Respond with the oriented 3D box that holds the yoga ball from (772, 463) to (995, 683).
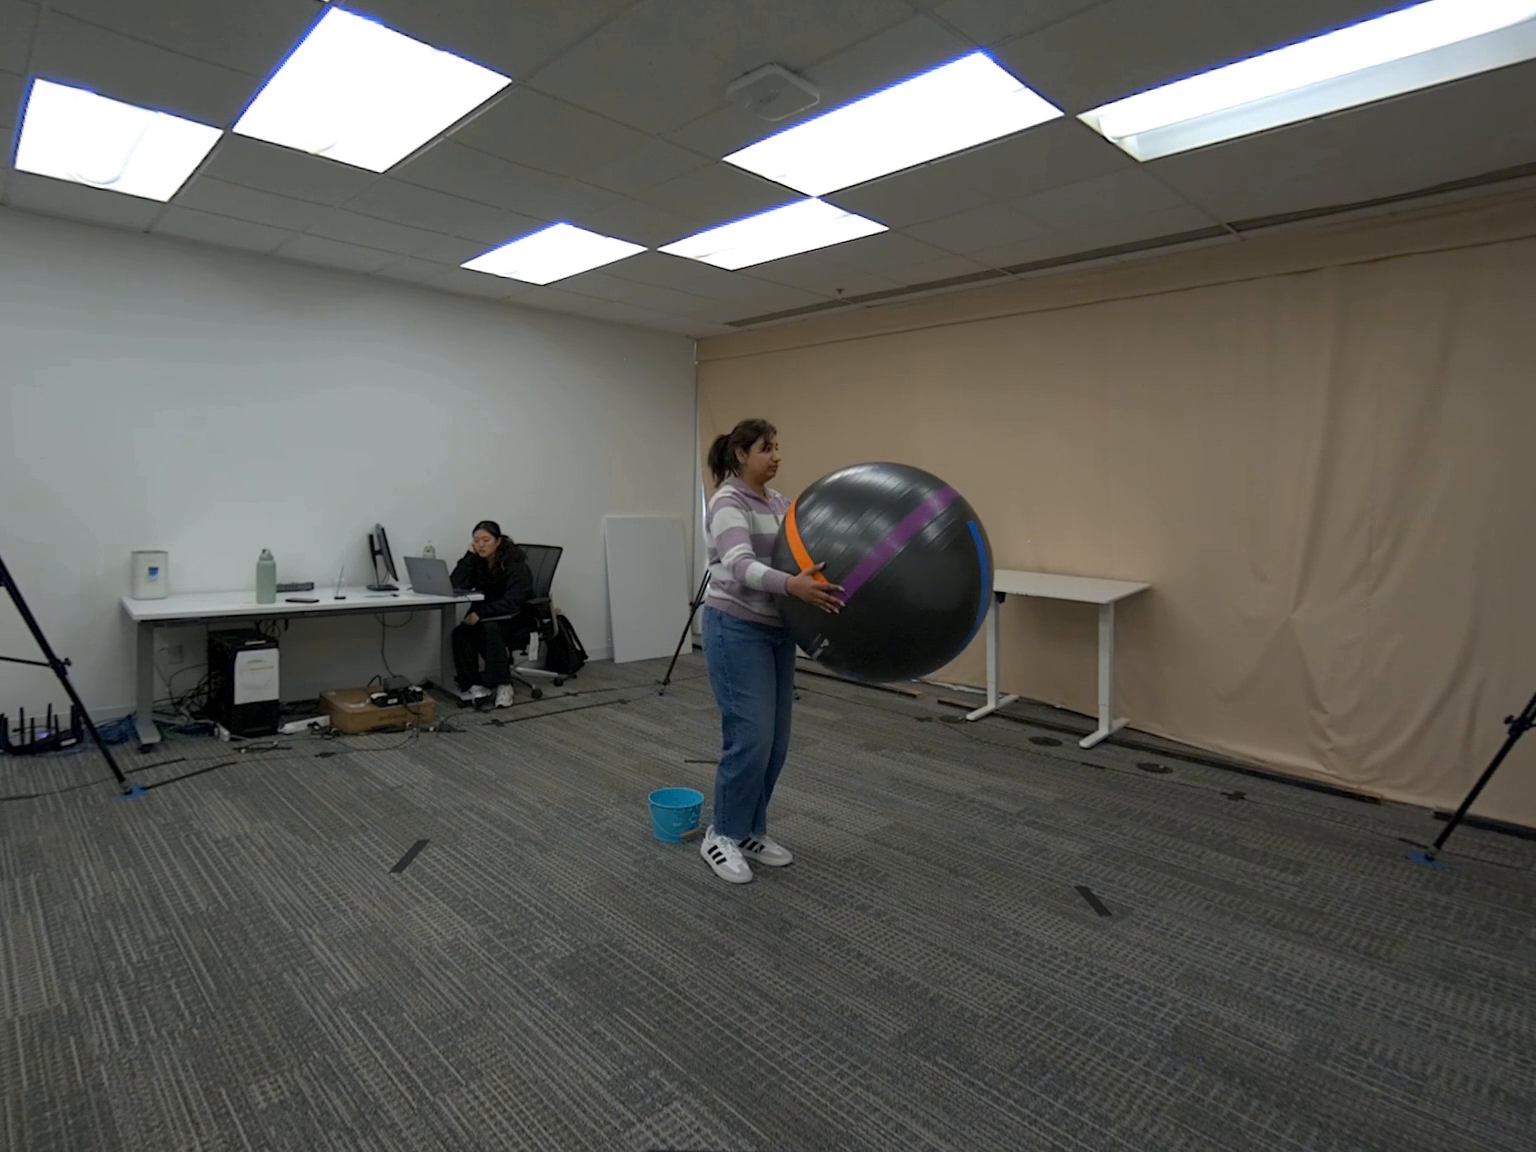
[{"bbox_3d":[0.389,-0.006,2.892,0.757,0.756,0.761,1,4,-1],"label":"yoga ball"}]
